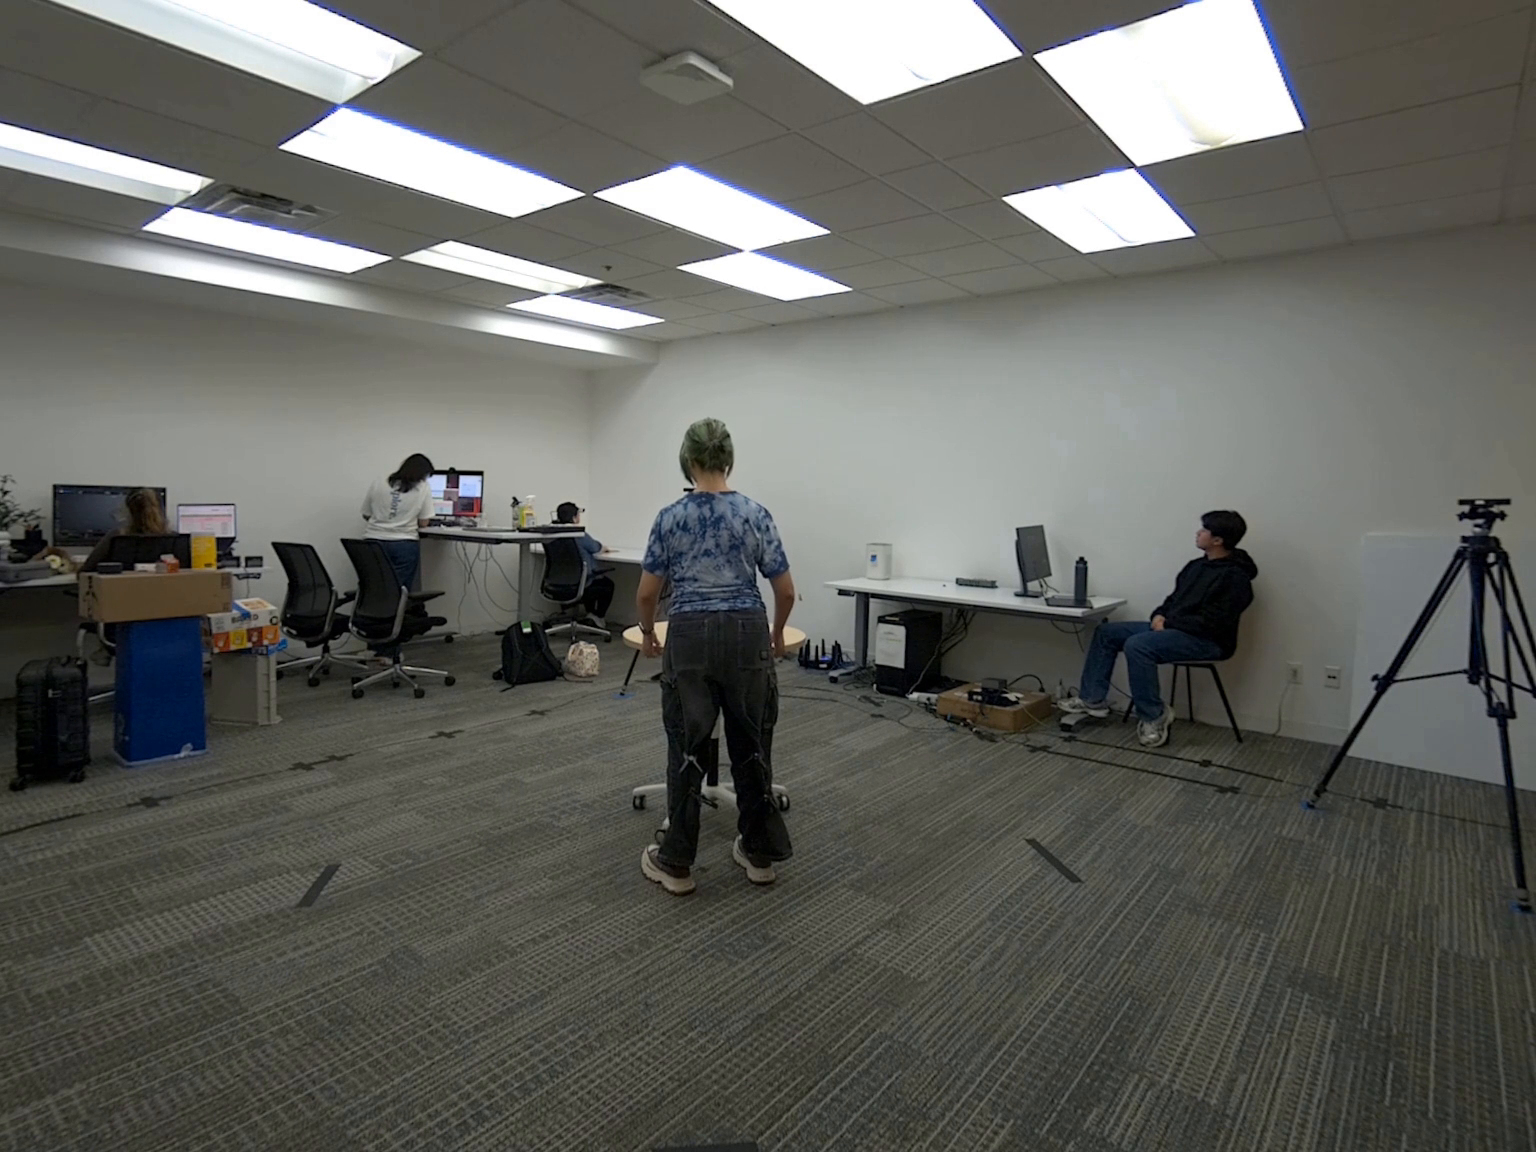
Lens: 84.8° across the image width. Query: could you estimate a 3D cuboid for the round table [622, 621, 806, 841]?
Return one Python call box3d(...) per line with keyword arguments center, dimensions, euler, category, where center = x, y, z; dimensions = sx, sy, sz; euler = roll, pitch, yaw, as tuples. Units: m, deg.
box3d(center=(-0.247, 0.631, 3.585), dimensions=(0.763, 0.792, 0.767), euler=(1, 4, -2), category="round table")
